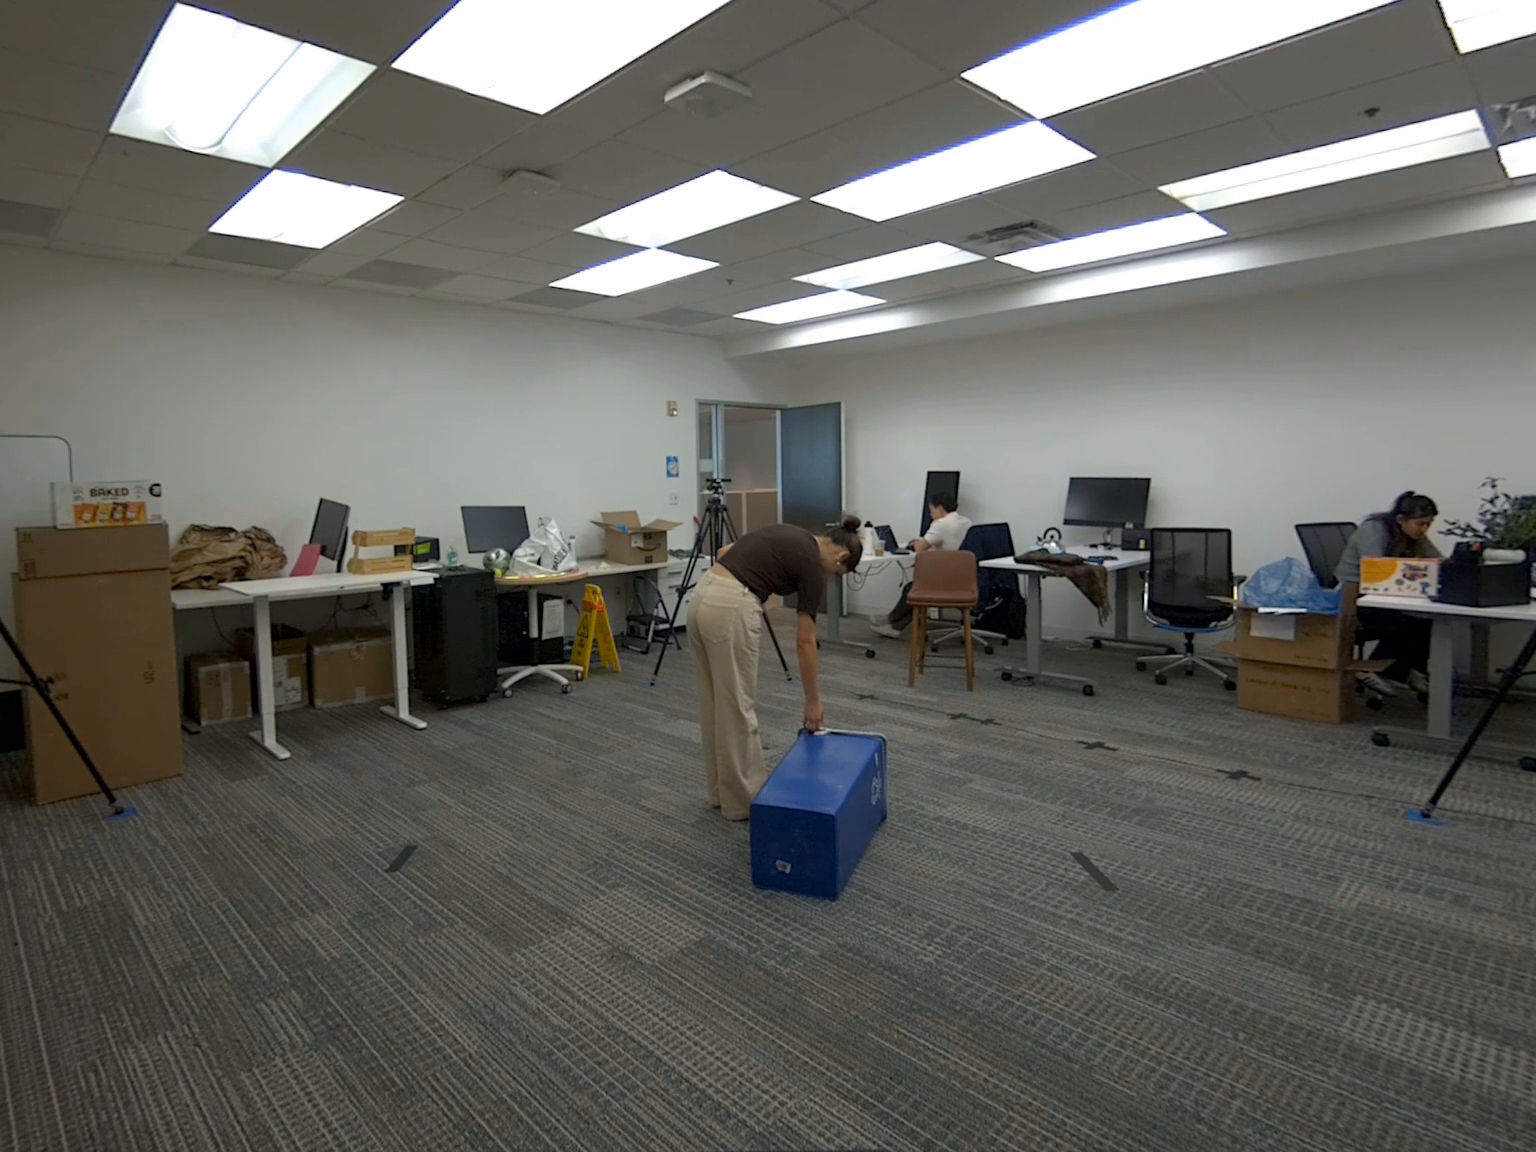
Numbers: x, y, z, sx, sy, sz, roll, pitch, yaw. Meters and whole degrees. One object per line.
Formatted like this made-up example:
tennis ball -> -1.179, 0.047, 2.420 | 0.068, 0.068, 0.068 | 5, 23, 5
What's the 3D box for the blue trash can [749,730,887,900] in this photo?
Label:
blue trash can -> 0.193, 0.864, 3.177 | 0.386, 0.371, 0.704 | 0, 9, 21
